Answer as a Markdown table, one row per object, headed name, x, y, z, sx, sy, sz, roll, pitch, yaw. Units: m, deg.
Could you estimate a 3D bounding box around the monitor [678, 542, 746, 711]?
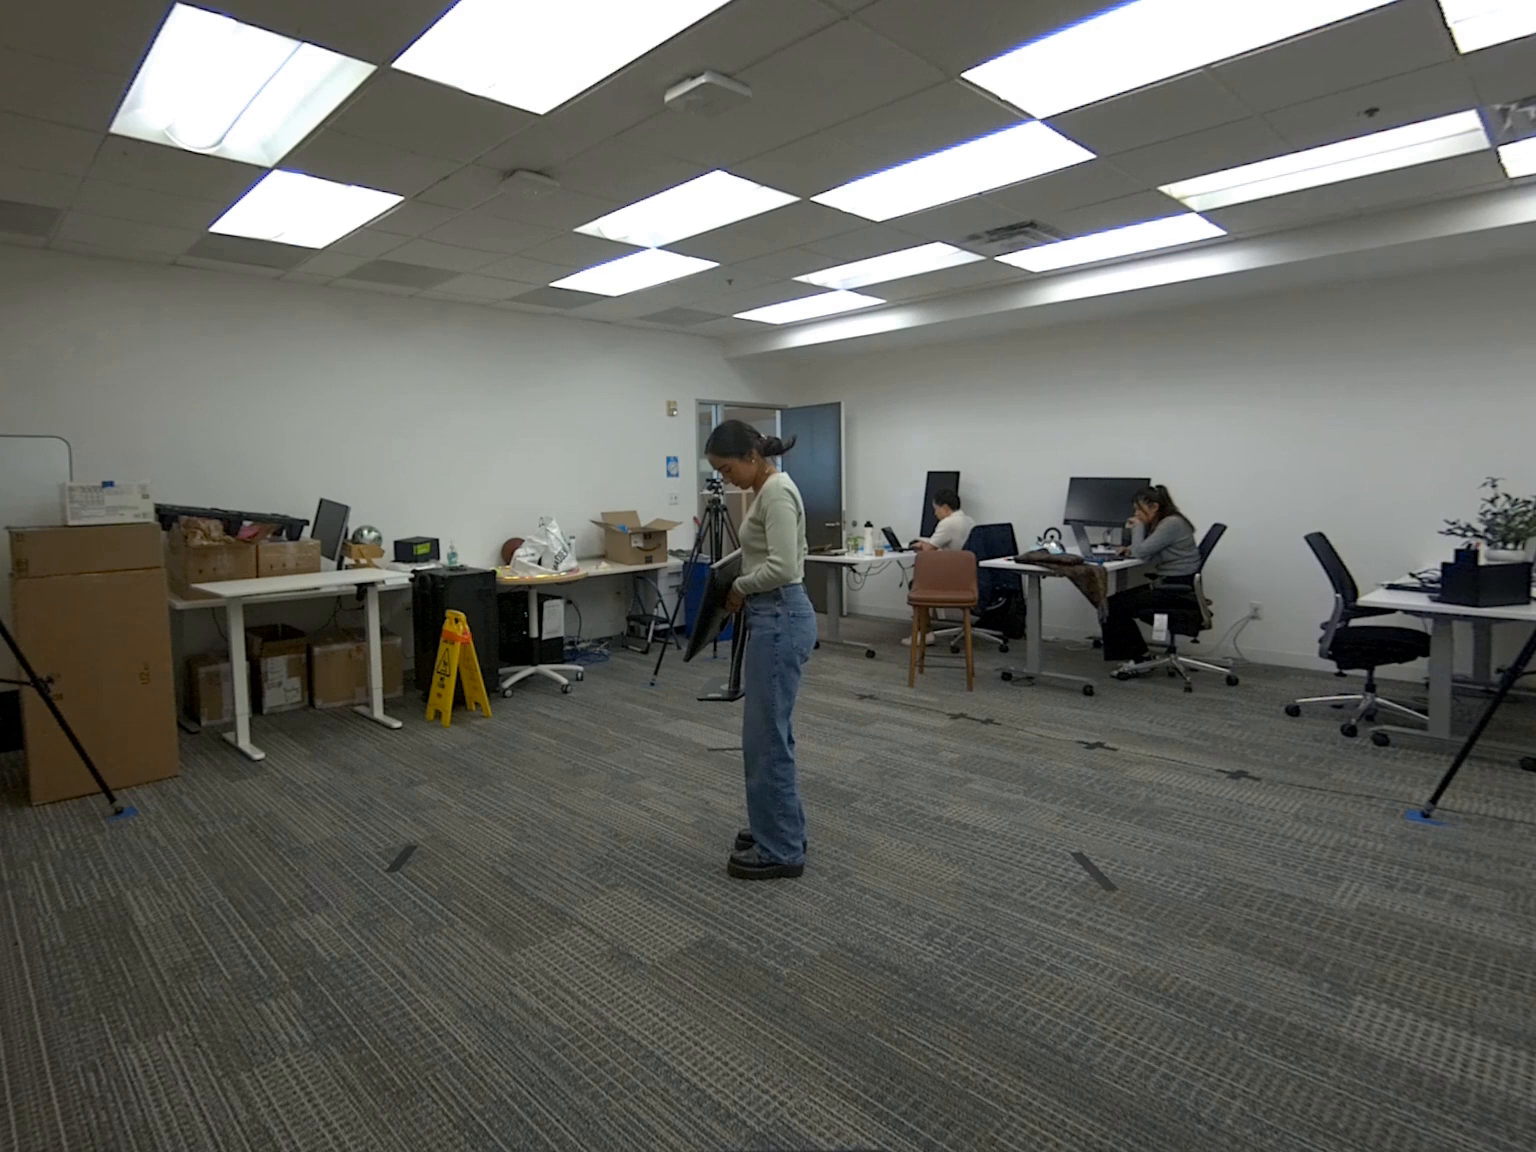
| name | x | y | z | sx | sy | sz | roll | pitch | yaw |
| --- | --- | --- | --- | --- | --- | --- | --- | --- | --- |
| monitor | -0.151 | 0.164 | 3.189 | 0.177 | 0.513 | 0.527 | -4 | 7 | 12 |
